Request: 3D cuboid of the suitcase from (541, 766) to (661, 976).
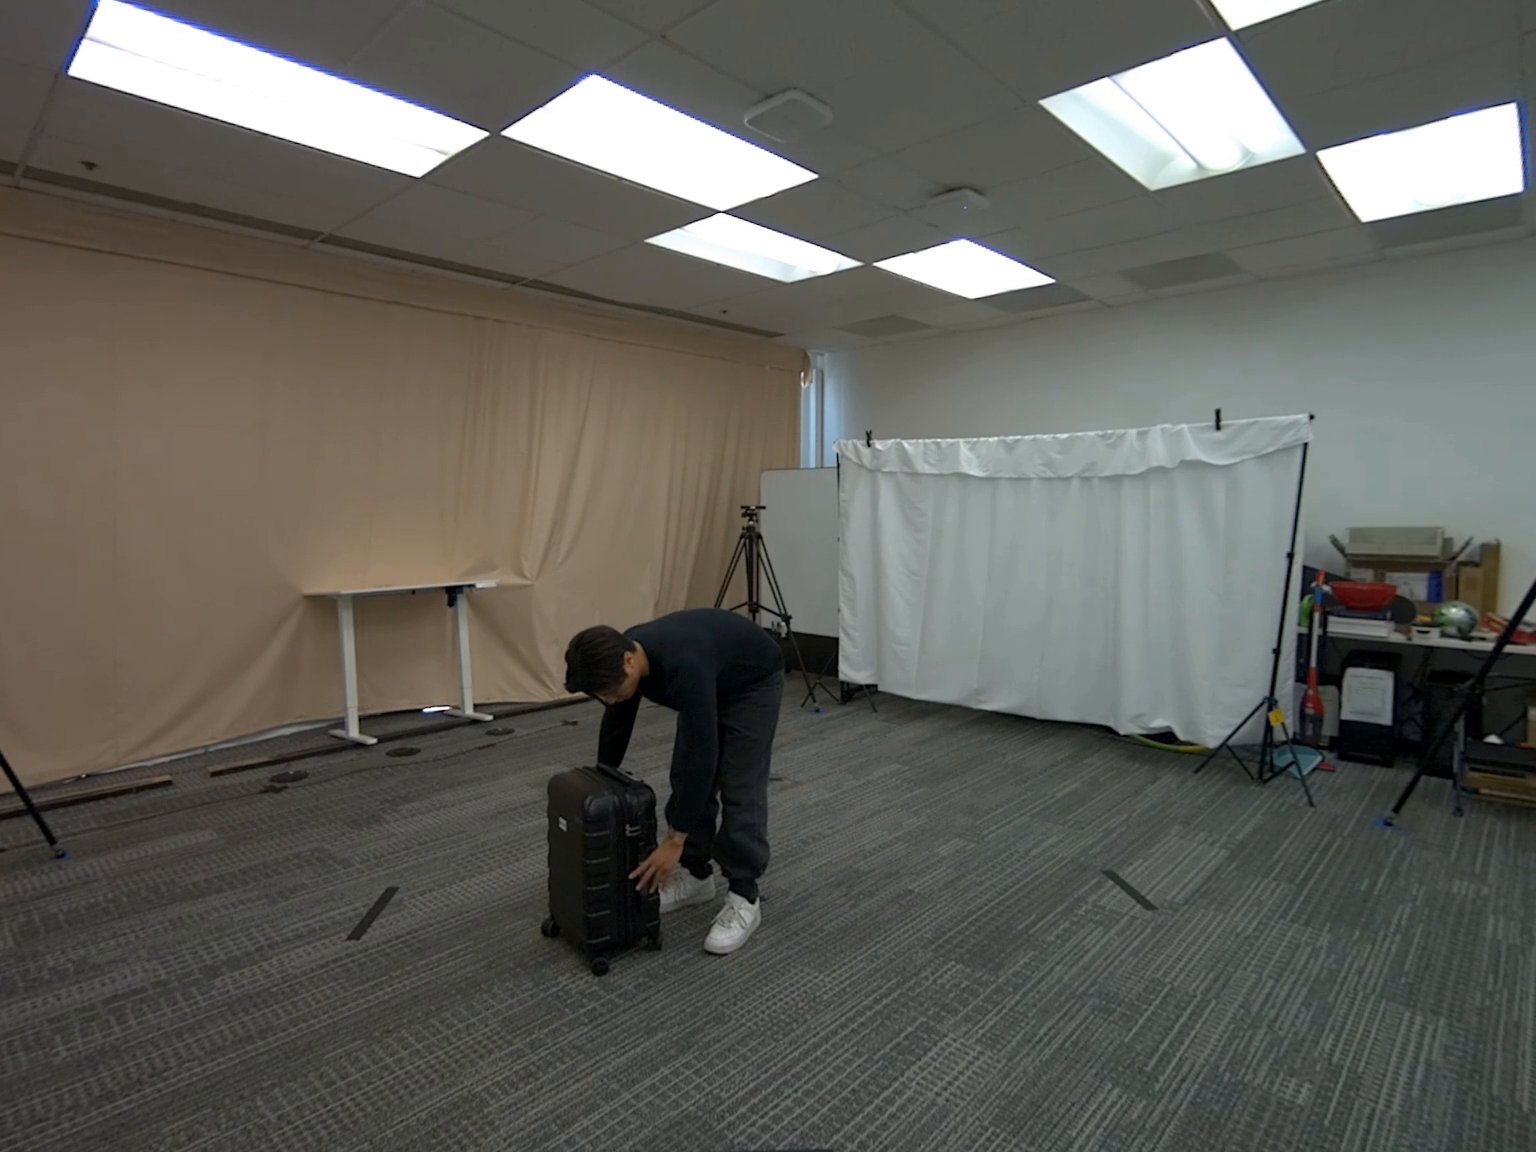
[{"bbox_3d":[-0.531,0.901,2.667,0.241,0.548,0.387,-3,4,-38],"label":"suitcase"}]
